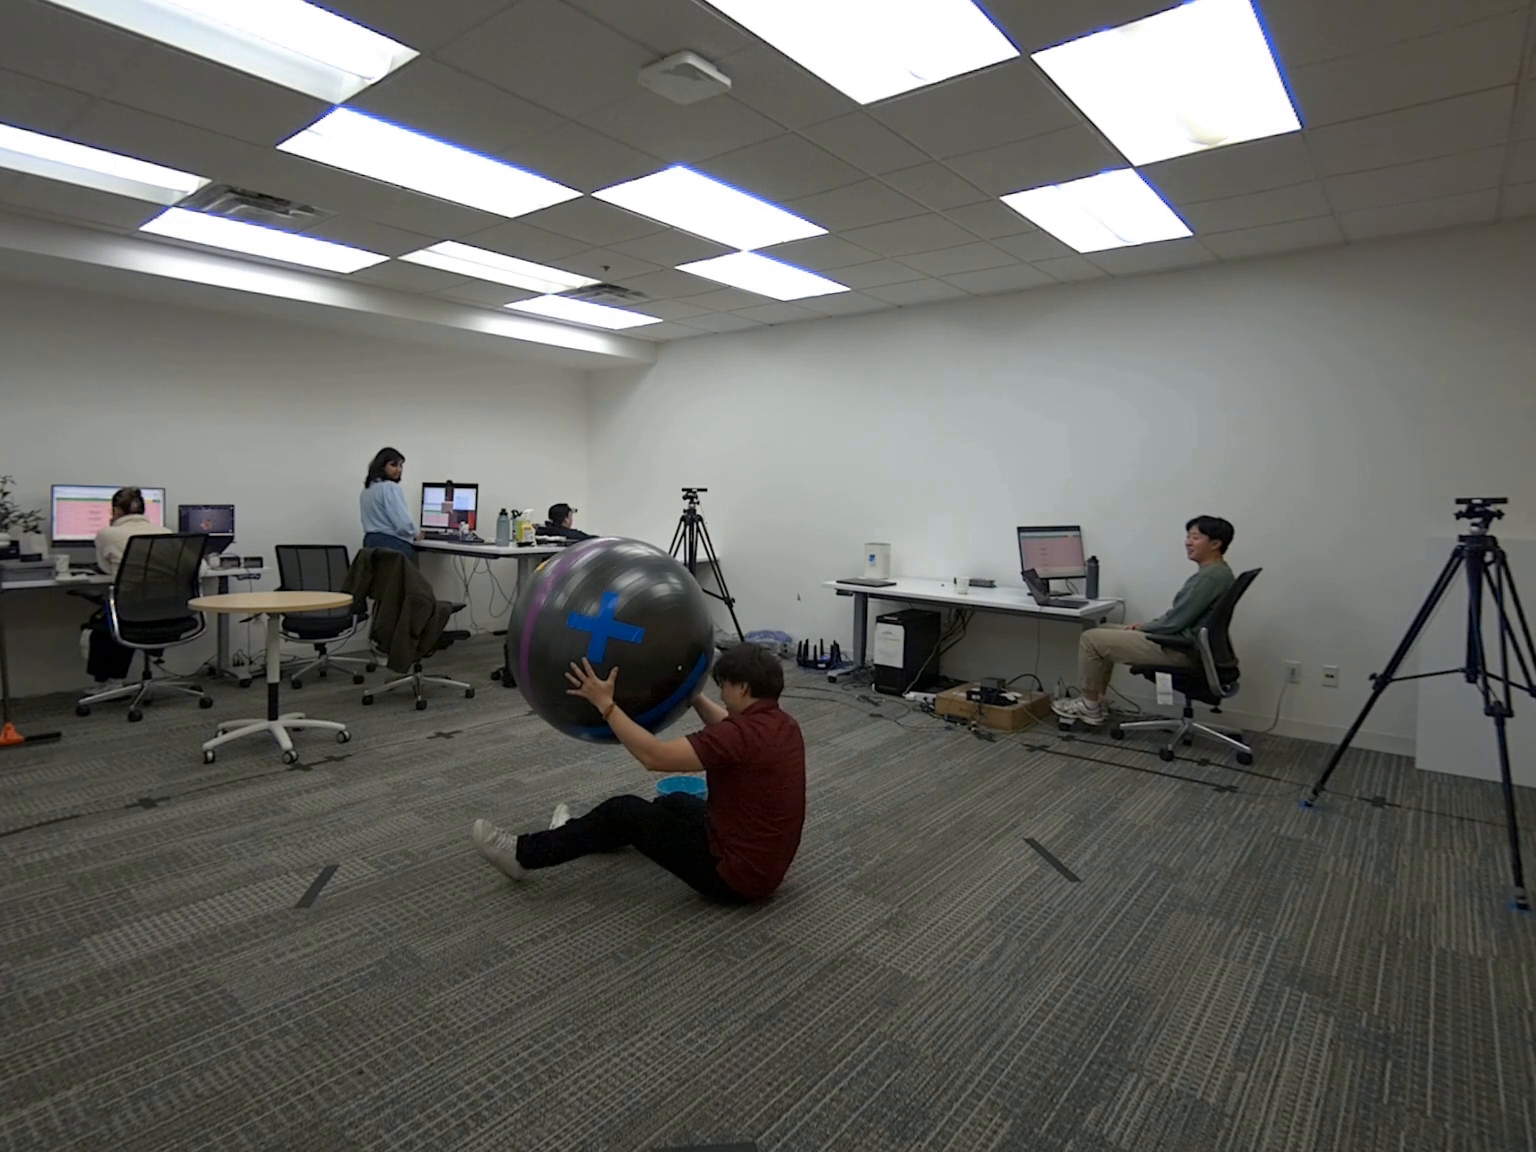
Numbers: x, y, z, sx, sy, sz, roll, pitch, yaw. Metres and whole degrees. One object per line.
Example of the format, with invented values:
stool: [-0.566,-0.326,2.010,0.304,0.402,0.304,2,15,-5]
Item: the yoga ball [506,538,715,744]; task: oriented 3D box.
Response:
yoga ball: [-0.594,0.238,3.138,0.757,0.755,0.762,1,4,-2]
